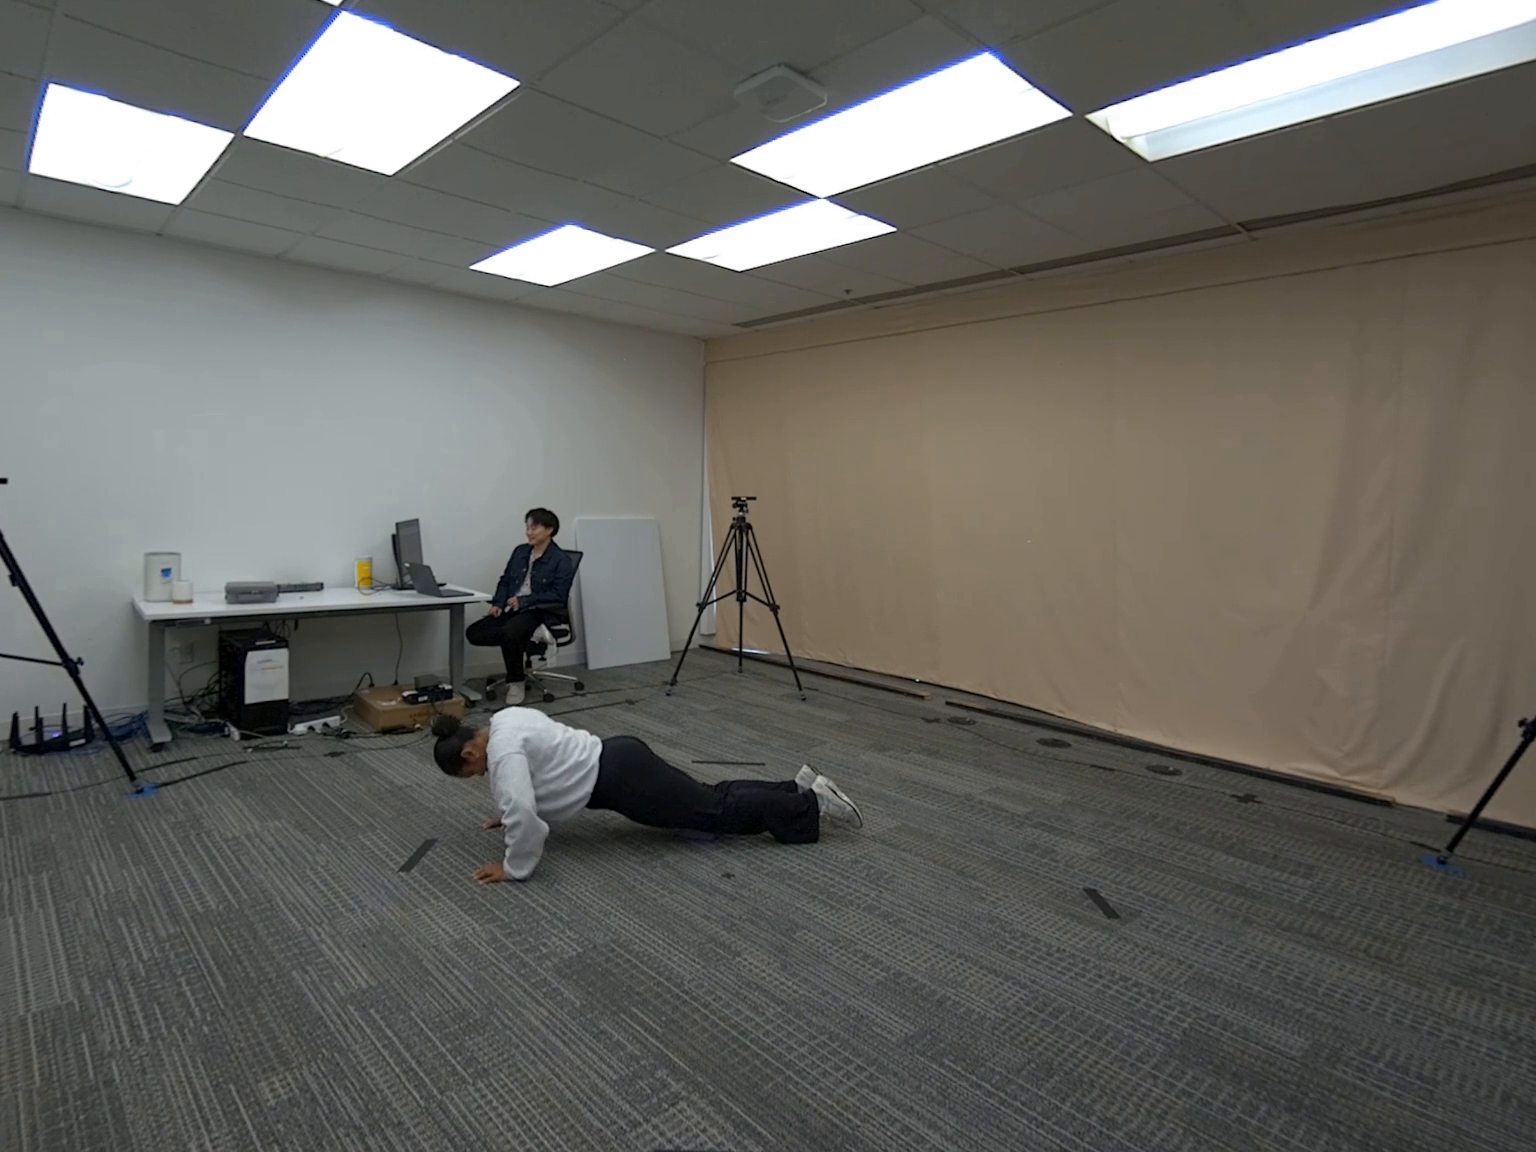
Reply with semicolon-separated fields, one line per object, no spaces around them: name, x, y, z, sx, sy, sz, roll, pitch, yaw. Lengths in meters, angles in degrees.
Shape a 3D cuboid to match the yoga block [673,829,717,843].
yoga block;-0.268;1.019;3.525;0.150;0.076;0.227;3;2;11
